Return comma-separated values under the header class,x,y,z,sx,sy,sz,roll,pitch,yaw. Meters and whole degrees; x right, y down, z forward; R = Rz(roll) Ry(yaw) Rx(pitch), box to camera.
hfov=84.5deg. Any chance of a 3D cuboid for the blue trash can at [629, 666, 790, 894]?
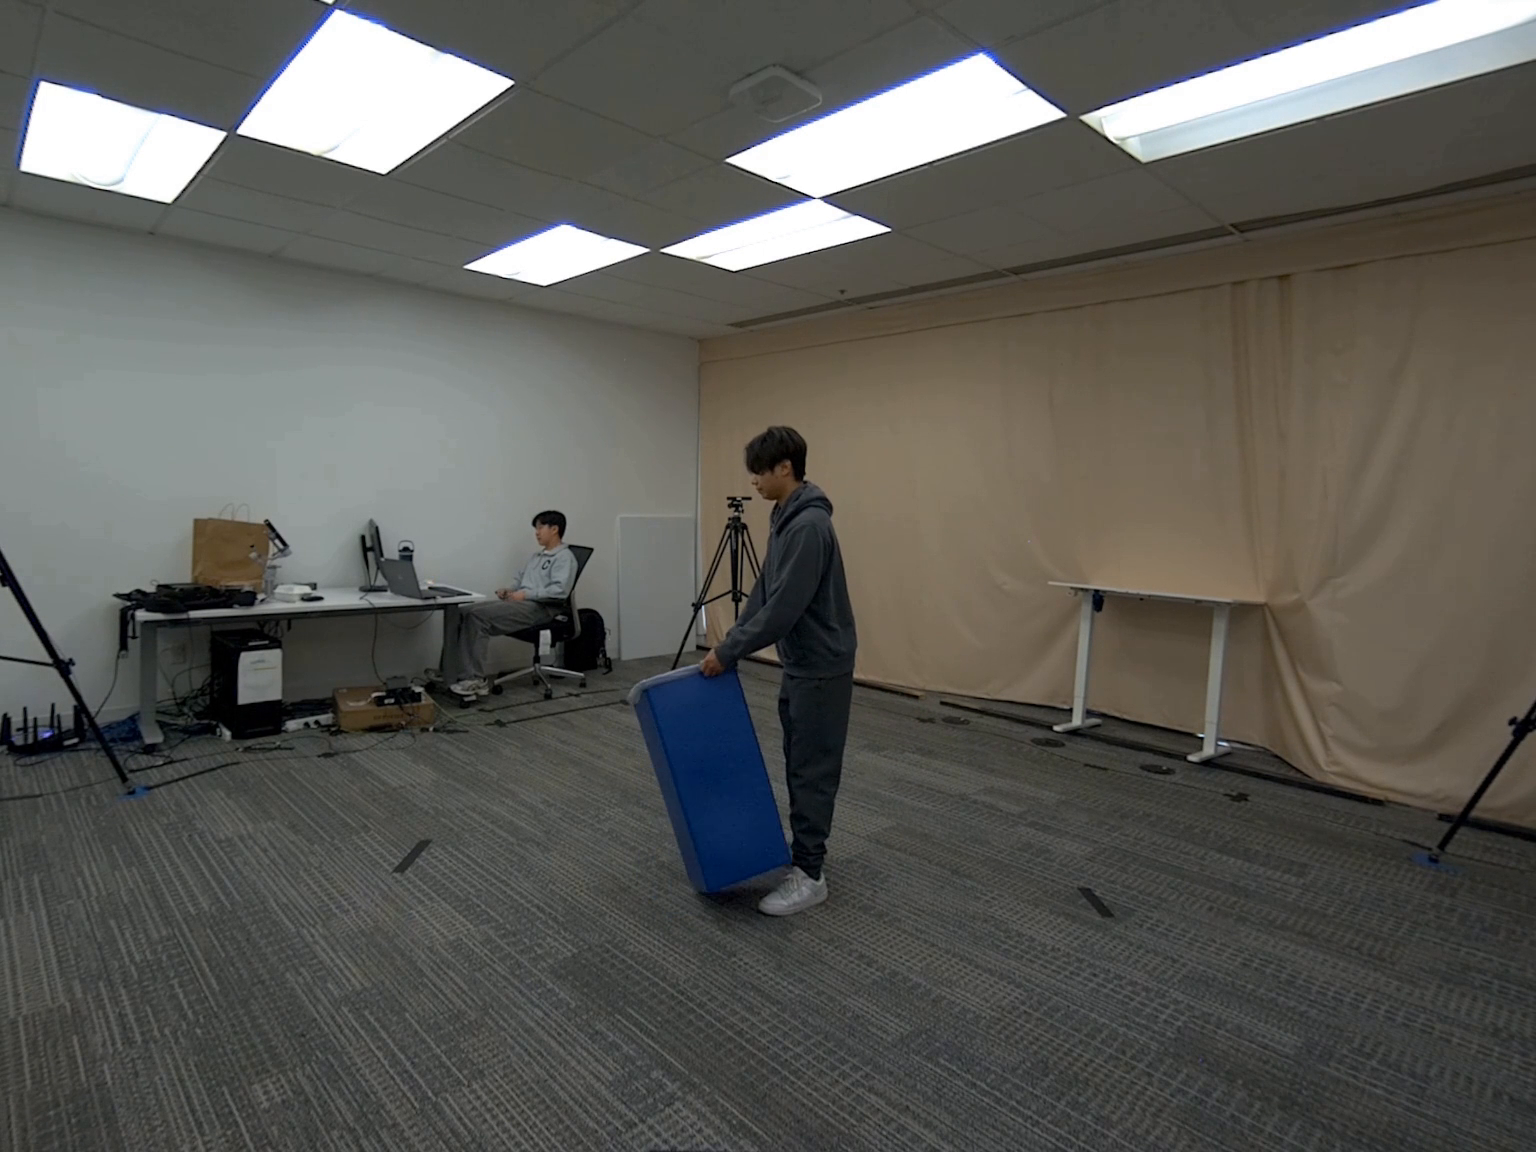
class,x,y,z,sx,sy,sz,roll,pitch,yaw
blue trash can,-0.215,0.694,2.963,0.370,0.723,0.377,-13,-14,-20
